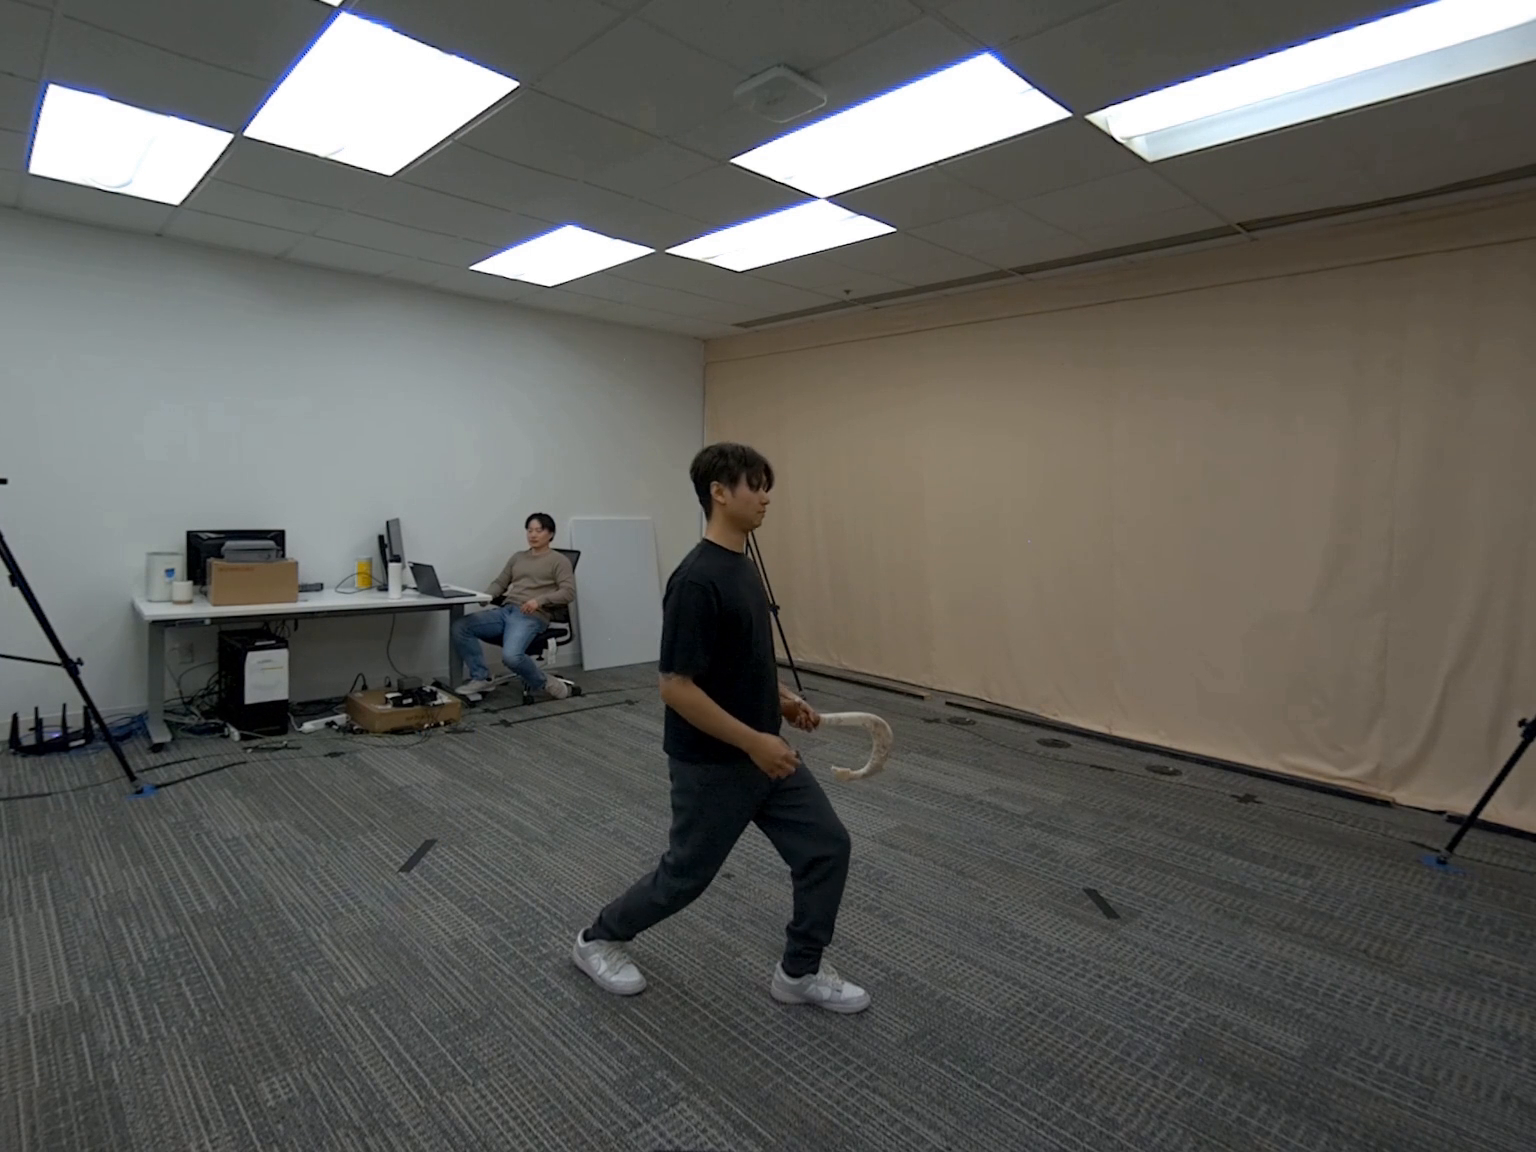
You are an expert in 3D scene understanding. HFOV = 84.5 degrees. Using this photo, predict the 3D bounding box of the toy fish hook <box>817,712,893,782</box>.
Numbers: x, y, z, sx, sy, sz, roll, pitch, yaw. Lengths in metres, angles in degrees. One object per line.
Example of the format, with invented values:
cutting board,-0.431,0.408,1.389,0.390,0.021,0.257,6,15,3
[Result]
toy fish hook,0.168,0.494,2.606,0.497,0.226,0.049,20,-11,-20
